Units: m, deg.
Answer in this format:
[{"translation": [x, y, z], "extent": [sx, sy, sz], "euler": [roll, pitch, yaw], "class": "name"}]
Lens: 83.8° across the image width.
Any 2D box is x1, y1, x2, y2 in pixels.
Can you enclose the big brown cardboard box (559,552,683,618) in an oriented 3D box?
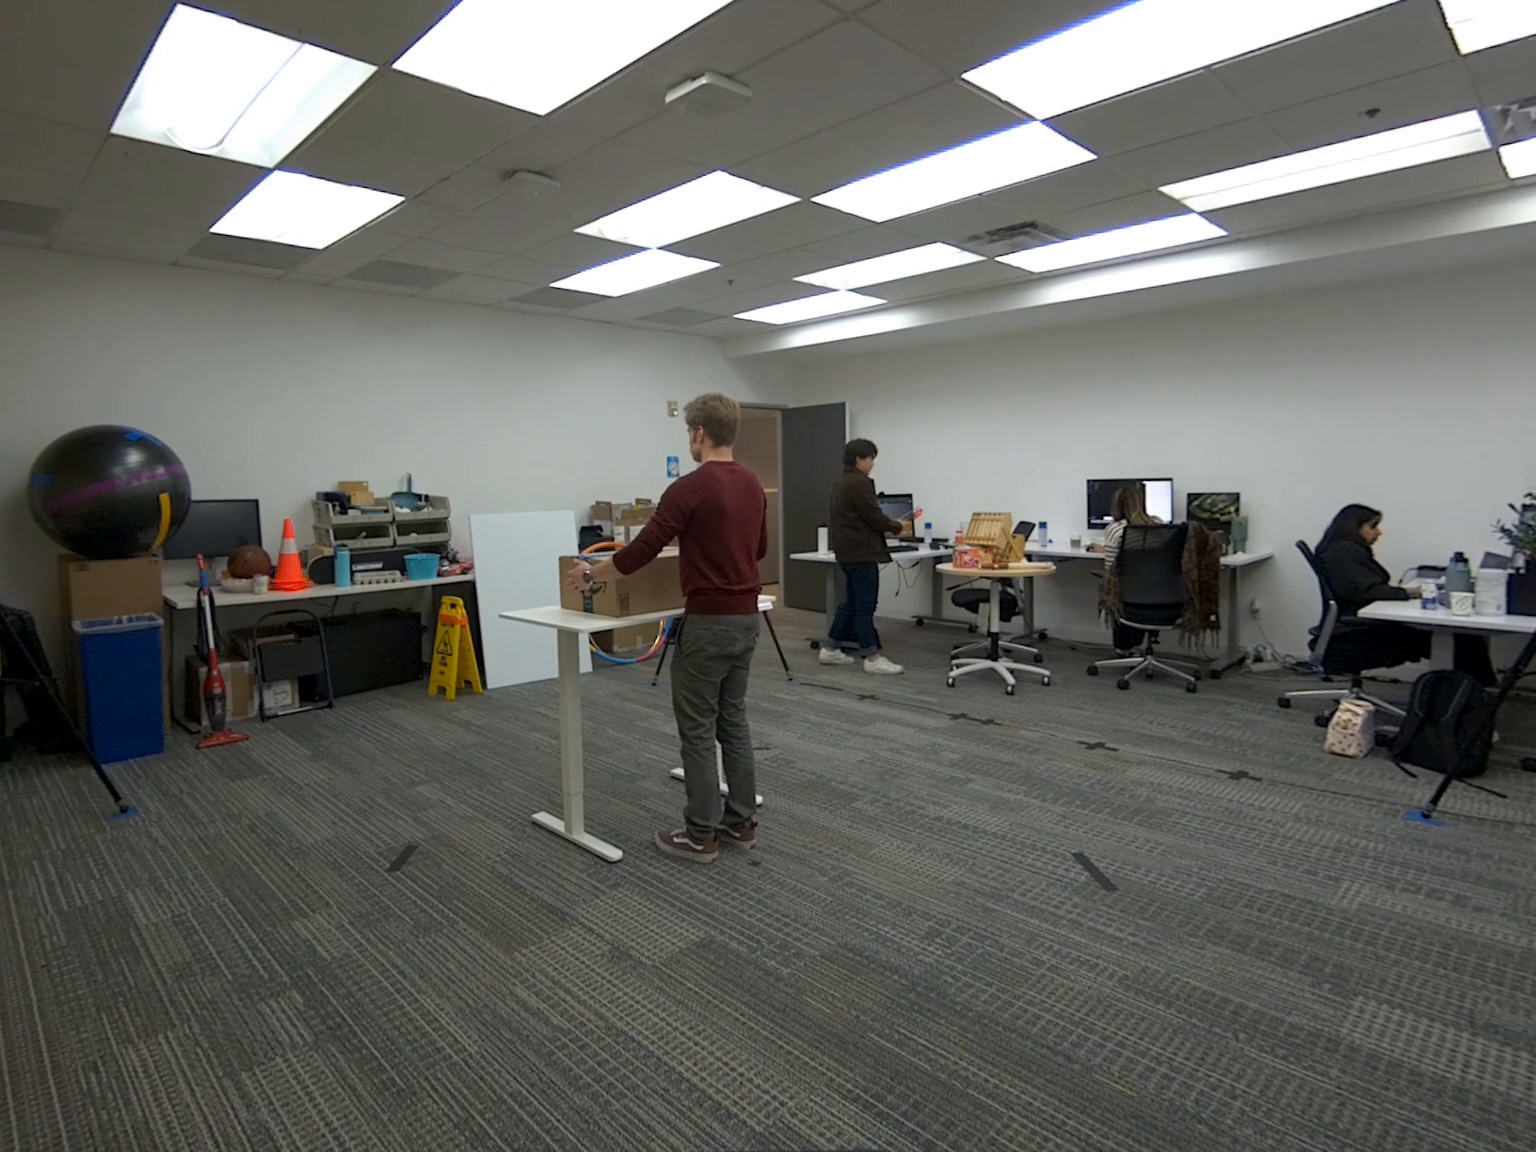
[{"translation": [-0.523, 0.010, 3.560], "extent": [0.573, 0.232, 0.430], "euler": [-6, 7, -43], "class": "big brown cardboard box"}]
